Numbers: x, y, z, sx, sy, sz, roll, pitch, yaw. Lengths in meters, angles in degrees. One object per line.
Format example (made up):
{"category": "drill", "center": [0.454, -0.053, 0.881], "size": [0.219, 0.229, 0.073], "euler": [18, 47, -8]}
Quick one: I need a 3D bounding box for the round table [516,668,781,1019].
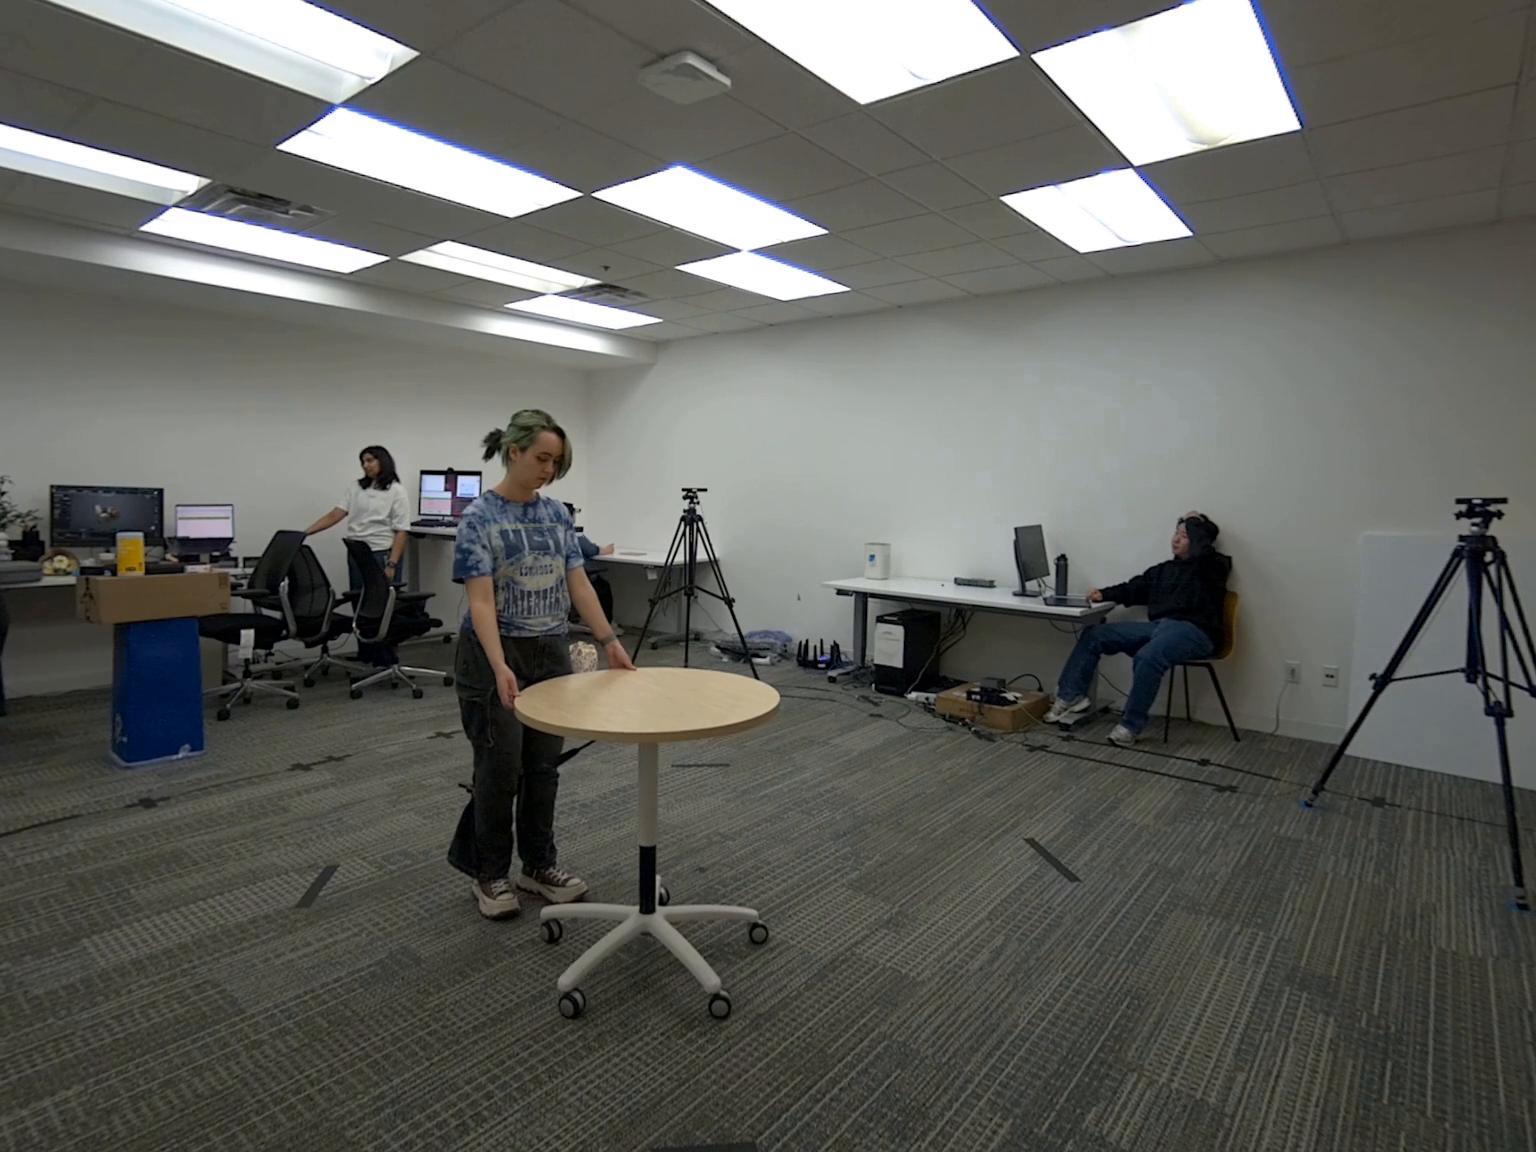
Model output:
{"category": "round table", "center": [-0.353, 0.737, 2.501], "size": [0.763, 0.791, 0.768], "euler": [0, 4, -2]}
